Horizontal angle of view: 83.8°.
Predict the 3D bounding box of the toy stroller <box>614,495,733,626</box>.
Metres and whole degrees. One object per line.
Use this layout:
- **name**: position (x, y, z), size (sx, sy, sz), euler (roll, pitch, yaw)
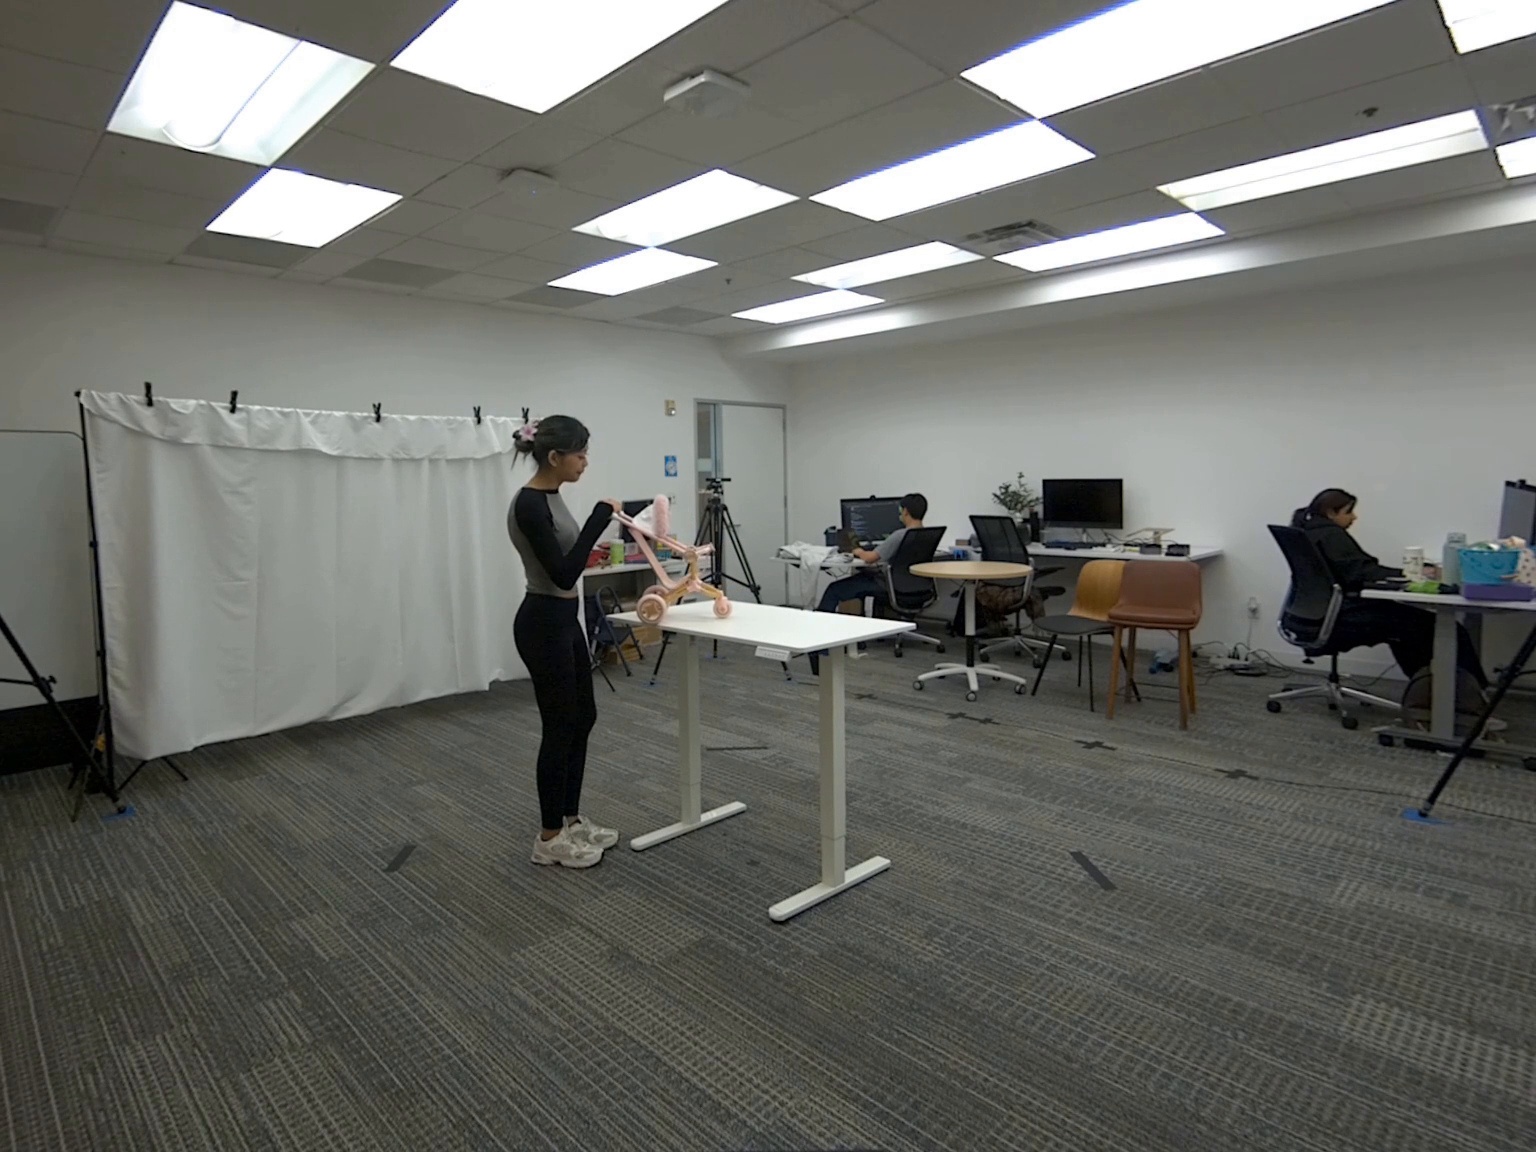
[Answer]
- **toy stroller**: position (-0.354, -0.060, 3.133), size (0.342, 0.533, 0.281), euler (-17, 3, 4)
